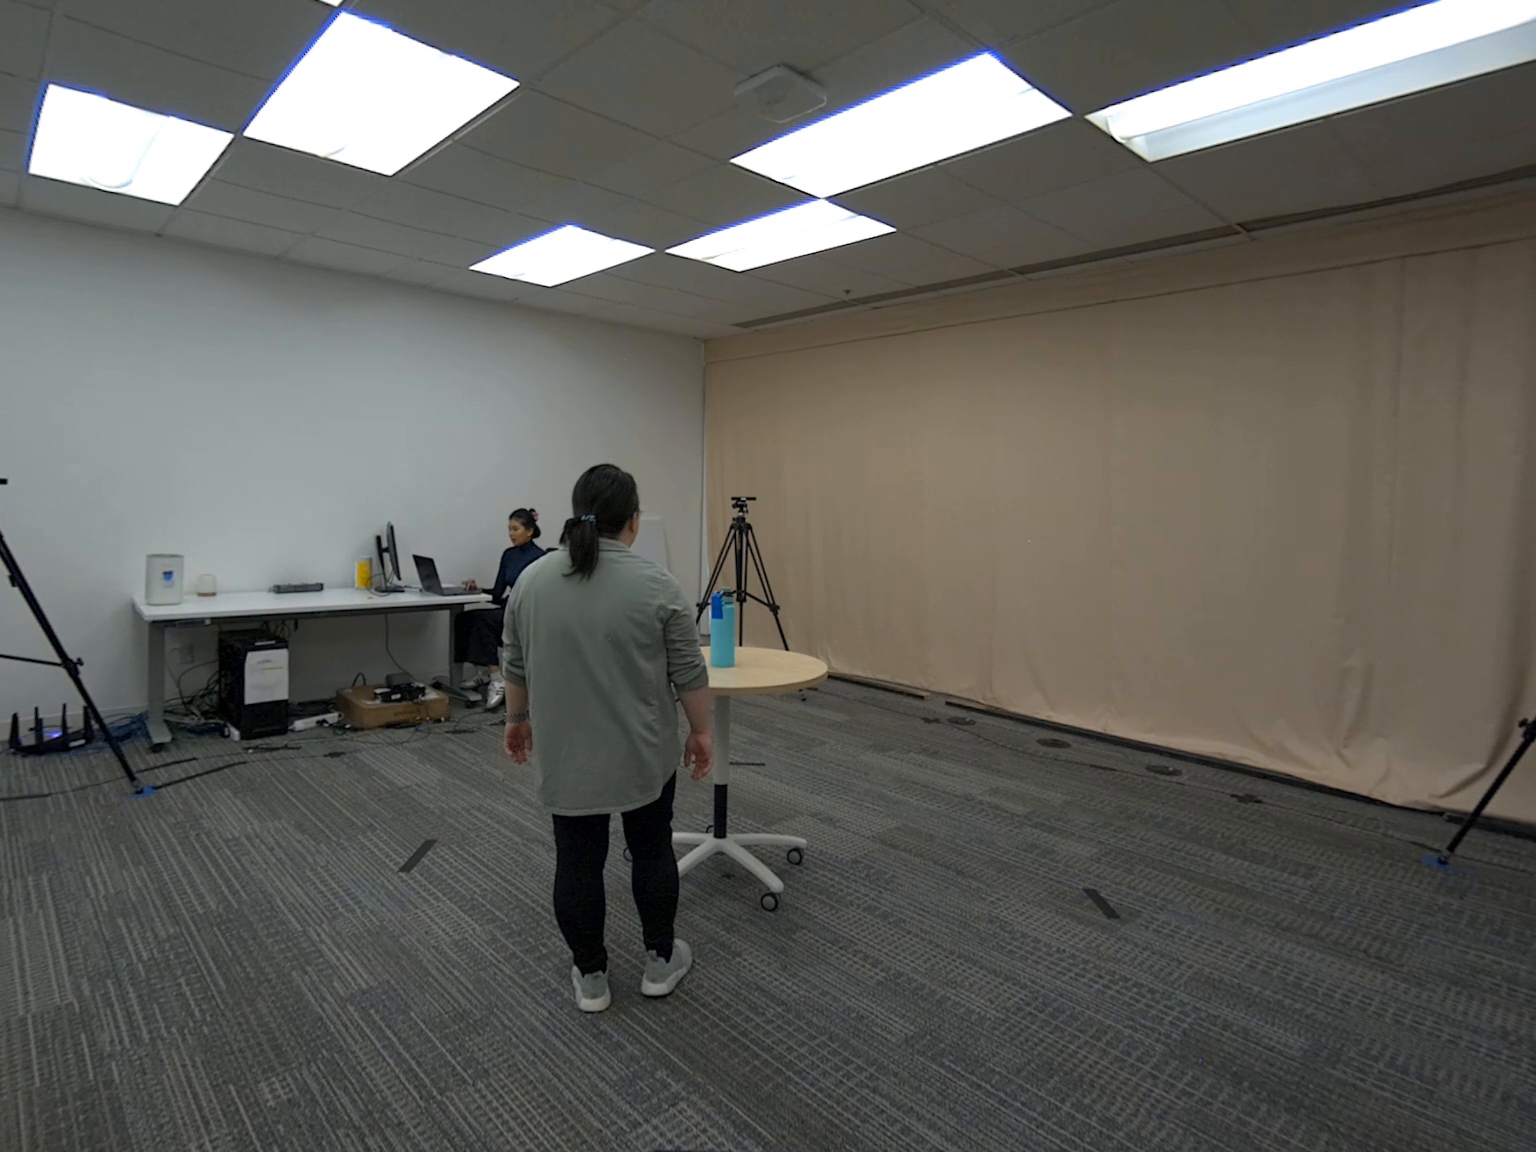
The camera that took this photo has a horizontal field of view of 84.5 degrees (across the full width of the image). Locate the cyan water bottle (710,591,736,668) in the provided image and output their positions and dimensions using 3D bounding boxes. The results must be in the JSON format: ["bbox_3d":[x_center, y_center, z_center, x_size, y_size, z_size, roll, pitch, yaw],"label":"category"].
[{"bbox_3d":[-0.174,0.190,3.054,0.092,0.282,0.093,0,6,-1],"label":"cyan water bottle"}]
